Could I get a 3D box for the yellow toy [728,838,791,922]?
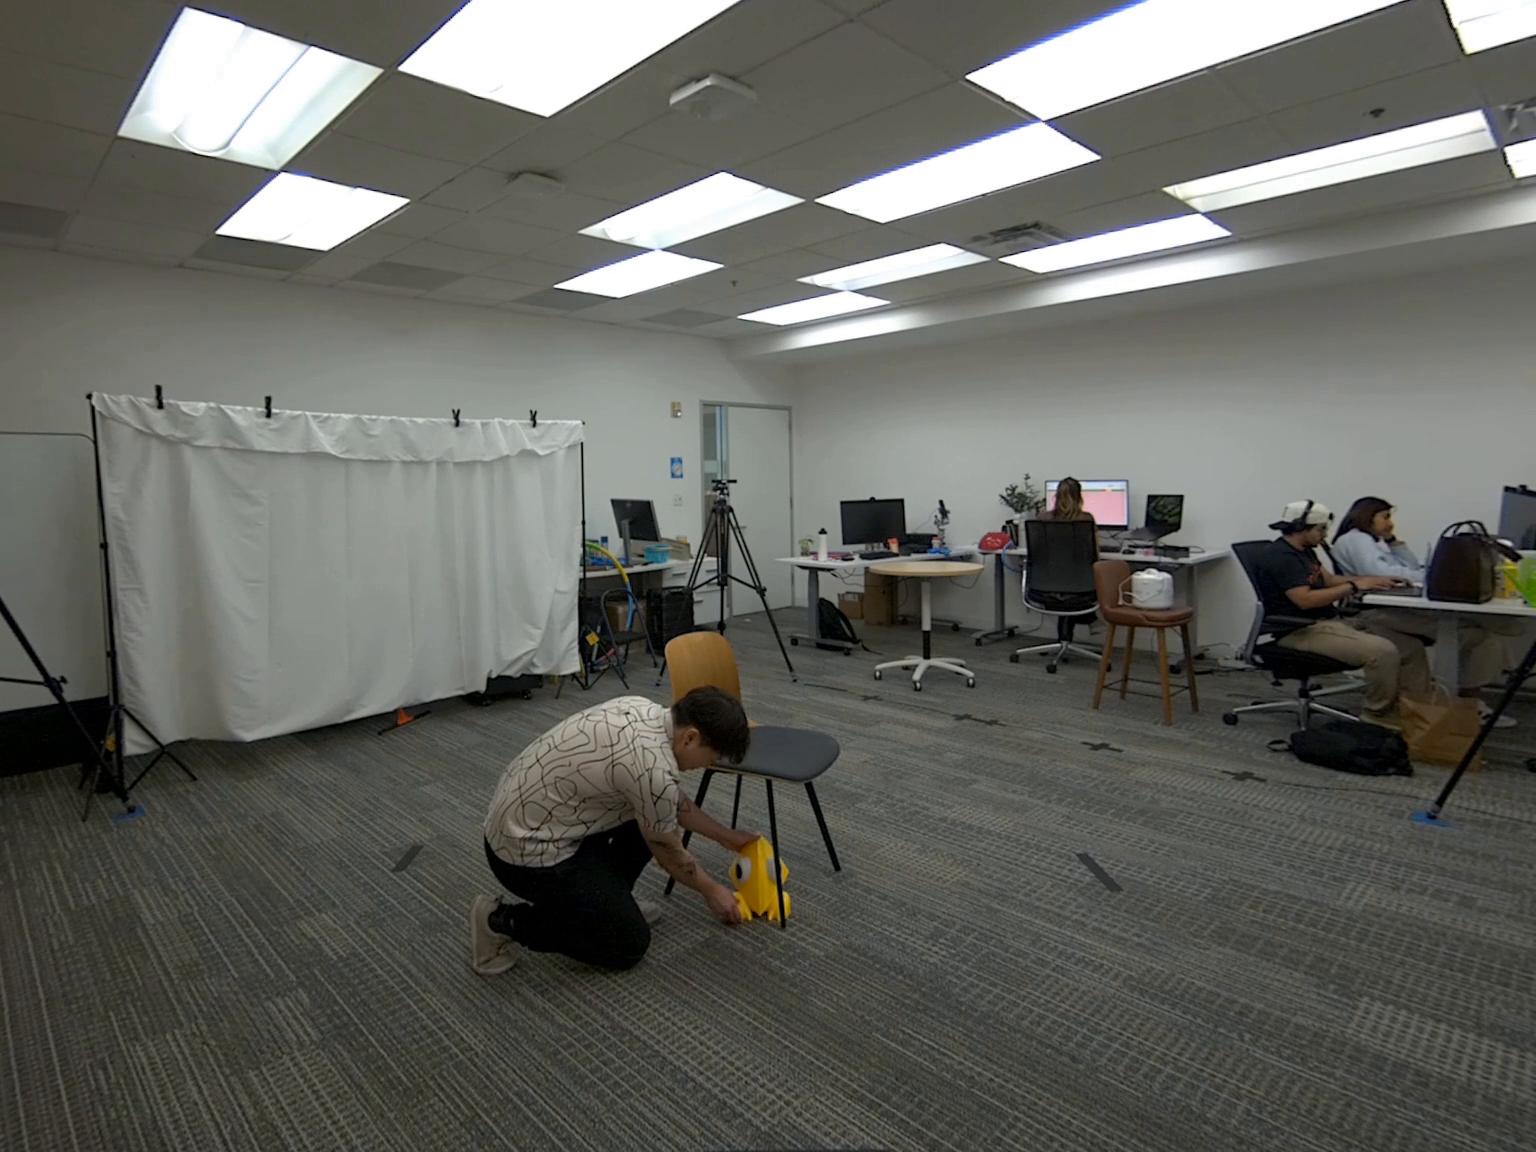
[{"bbox_3d":[-0.025,0.977,2.769,0.205,0.229,0.194,-1,6,2],"label":"yellow toy"}]
